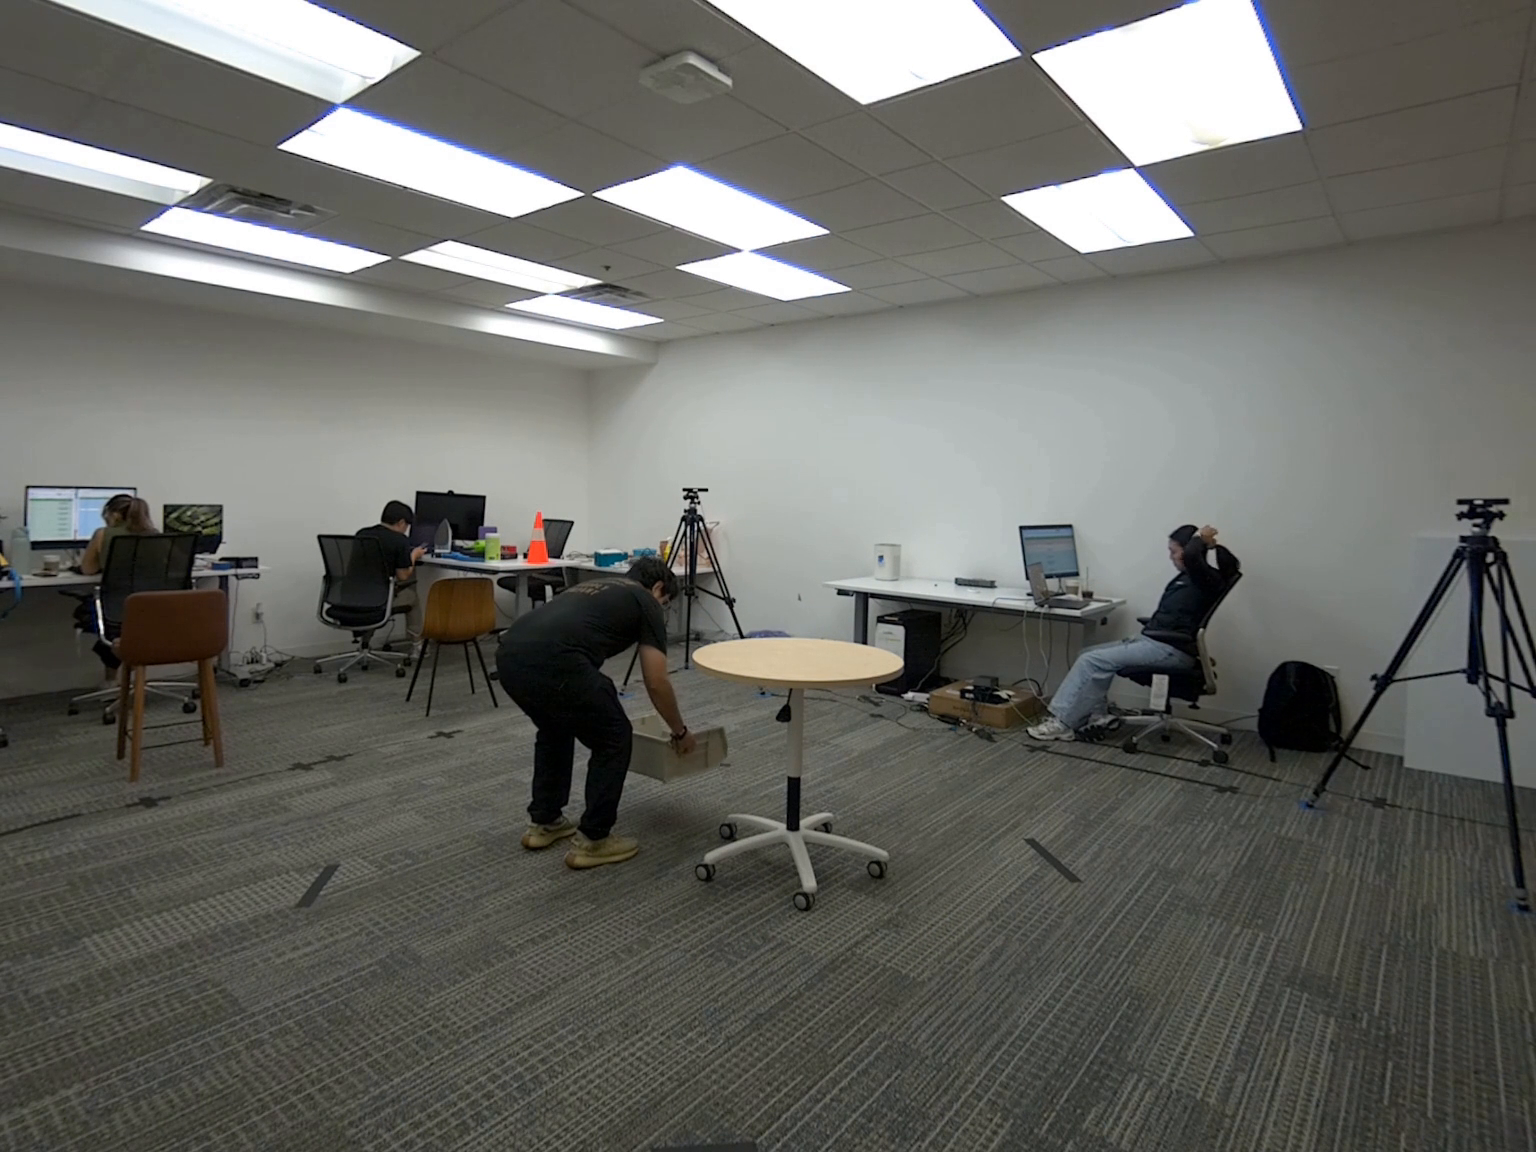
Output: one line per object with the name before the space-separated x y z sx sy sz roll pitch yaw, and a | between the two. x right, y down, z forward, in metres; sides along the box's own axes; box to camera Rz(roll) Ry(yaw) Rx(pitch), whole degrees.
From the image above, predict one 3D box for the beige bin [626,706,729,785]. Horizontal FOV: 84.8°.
beige bin | -0.457 0.710 3.627 0.436 0.188 0.366 4 5 41
